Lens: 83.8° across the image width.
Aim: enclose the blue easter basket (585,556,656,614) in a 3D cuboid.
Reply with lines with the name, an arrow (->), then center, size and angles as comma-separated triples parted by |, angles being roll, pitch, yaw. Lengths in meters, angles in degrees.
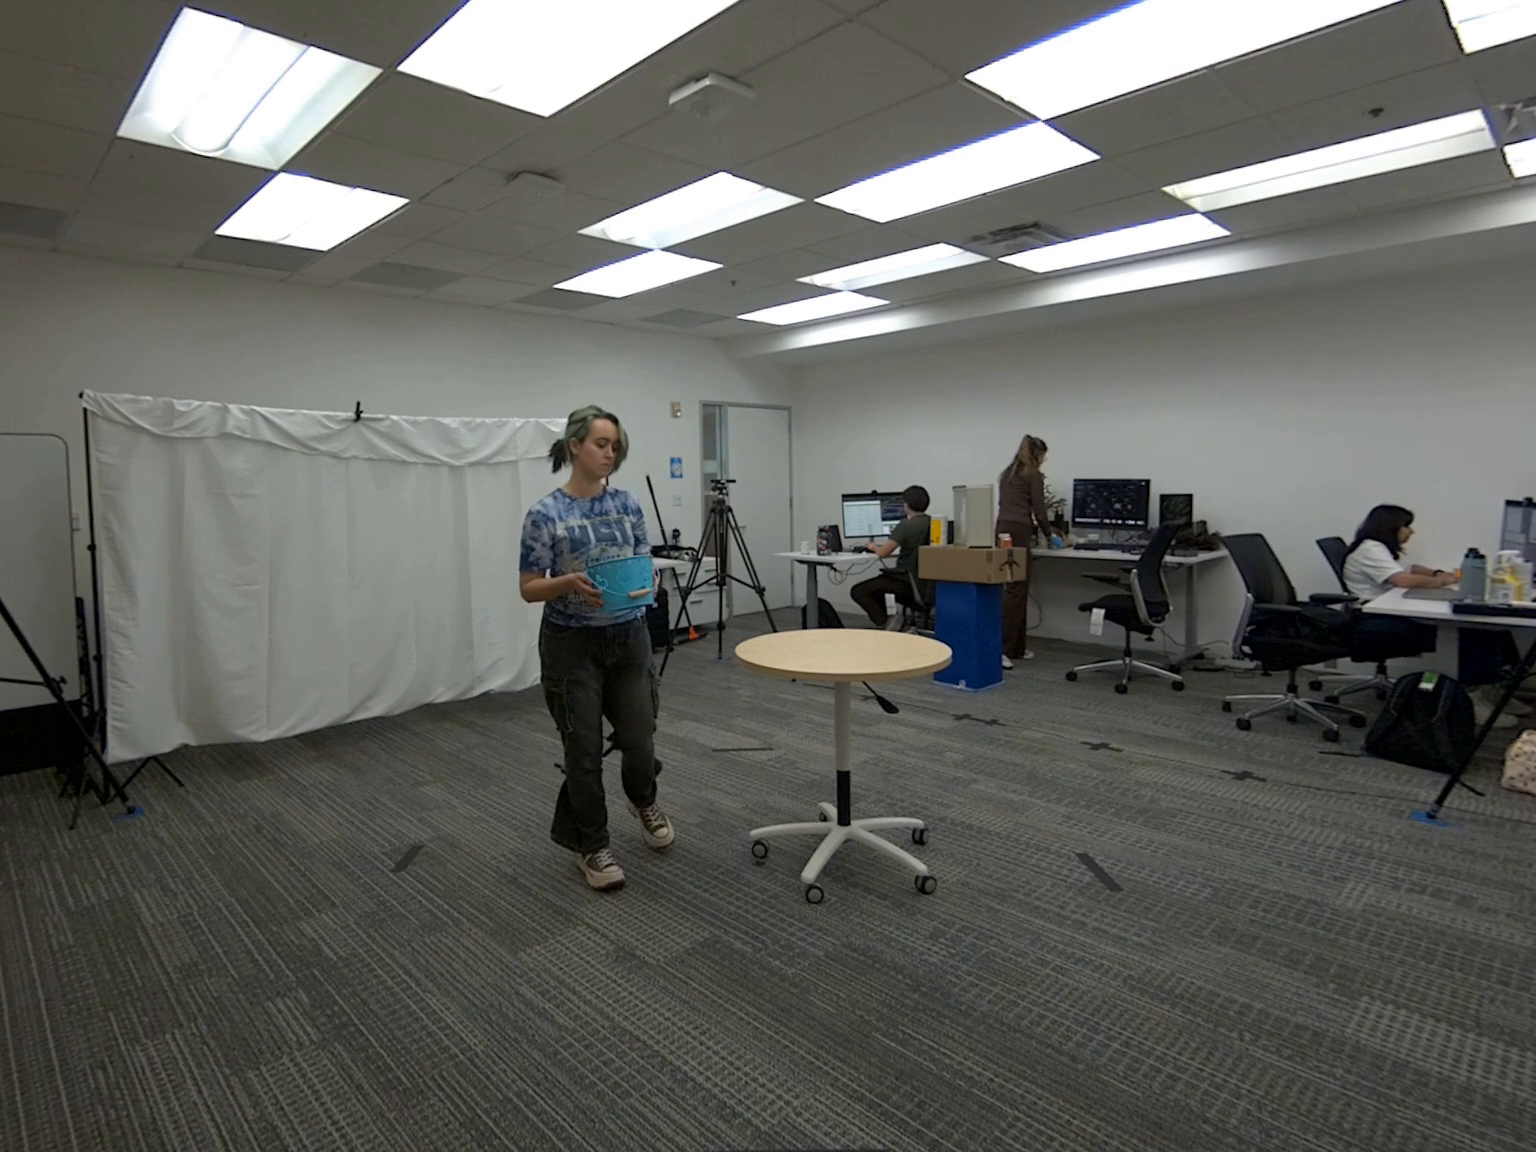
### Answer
blue easter basket -> -0.480, 0.035, 2.747 | 0.243, 0.157, 0.242 | -14, -5, -3
